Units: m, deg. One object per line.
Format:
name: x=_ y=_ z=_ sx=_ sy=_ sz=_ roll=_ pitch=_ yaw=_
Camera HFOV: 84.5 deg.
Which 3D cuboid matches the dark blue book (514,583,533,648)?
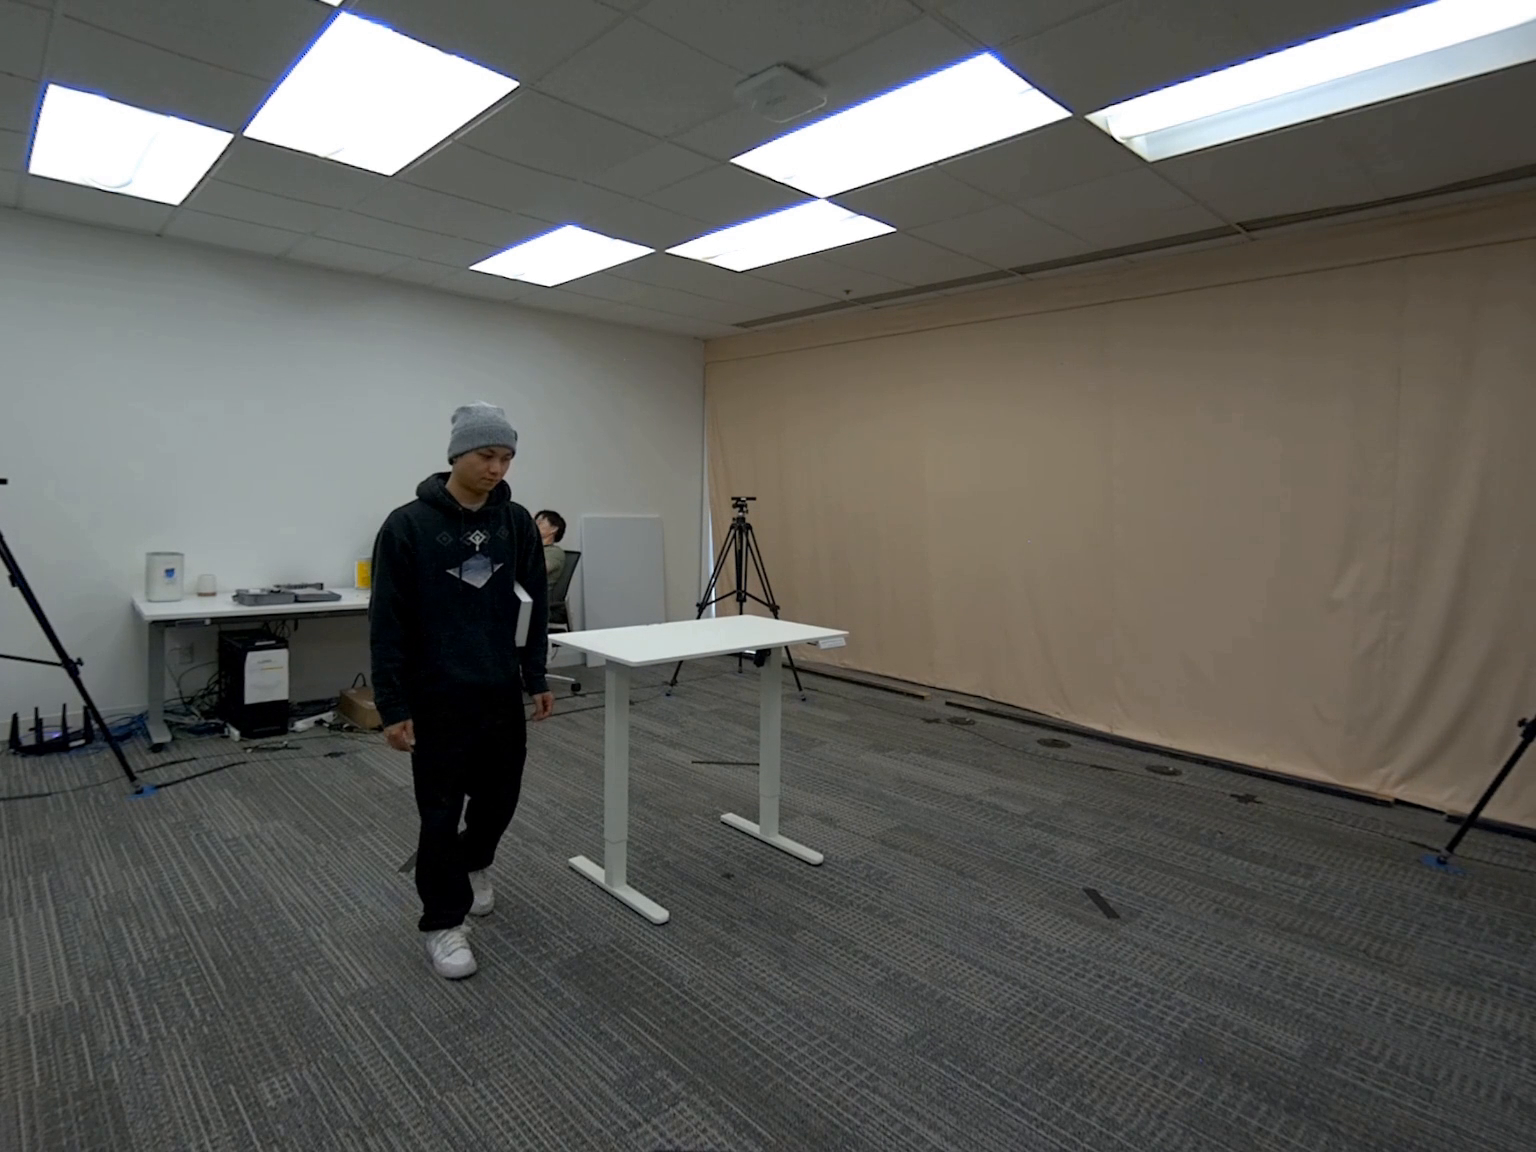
dark blue book: x=-0.826 y=0.100 z=2.692 sx=0.044 sy=0.162 sz=0.253 roll=3 pitch=19 yaw=-36
